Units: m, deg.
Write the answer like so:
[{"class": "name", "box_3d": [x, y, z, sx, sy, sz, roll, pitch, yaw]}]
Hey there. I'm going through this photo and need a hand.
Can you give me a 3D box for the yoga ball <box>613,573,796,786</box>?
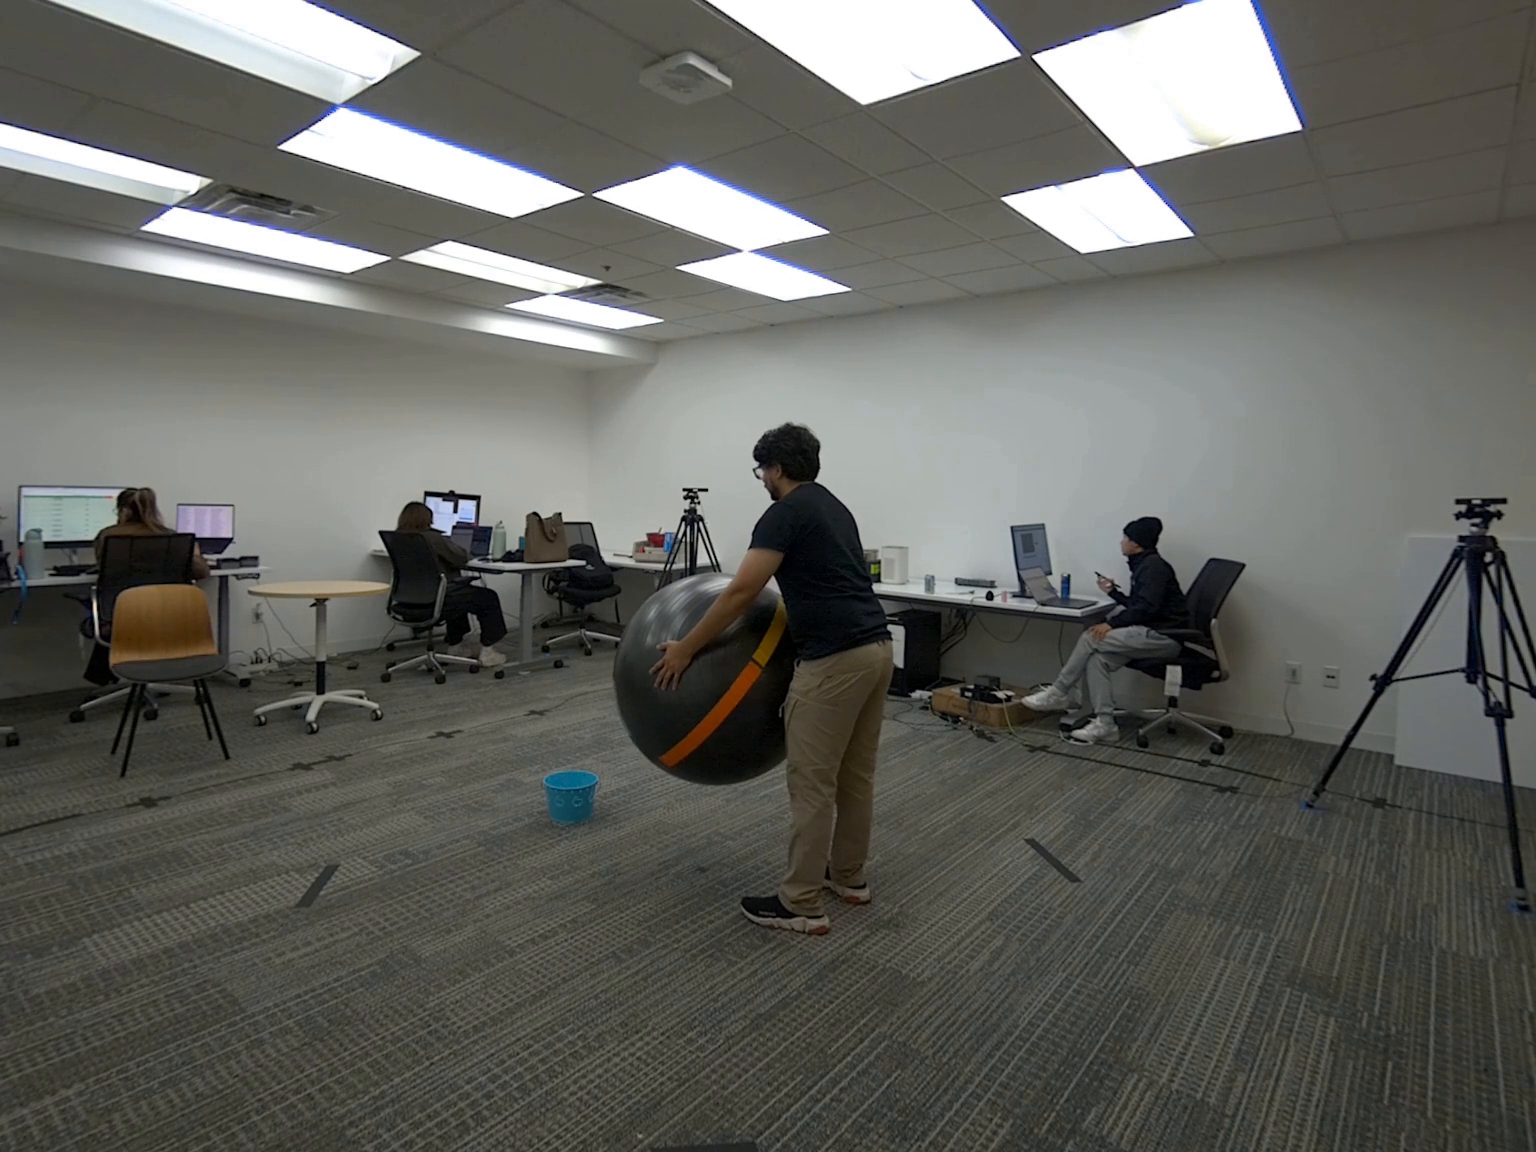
[{"class": "yoga ball", "box_3d": [-0.201, 0.371, 3.105, 0.757, 0.756, 0.762, 1, 4, -2]}]
